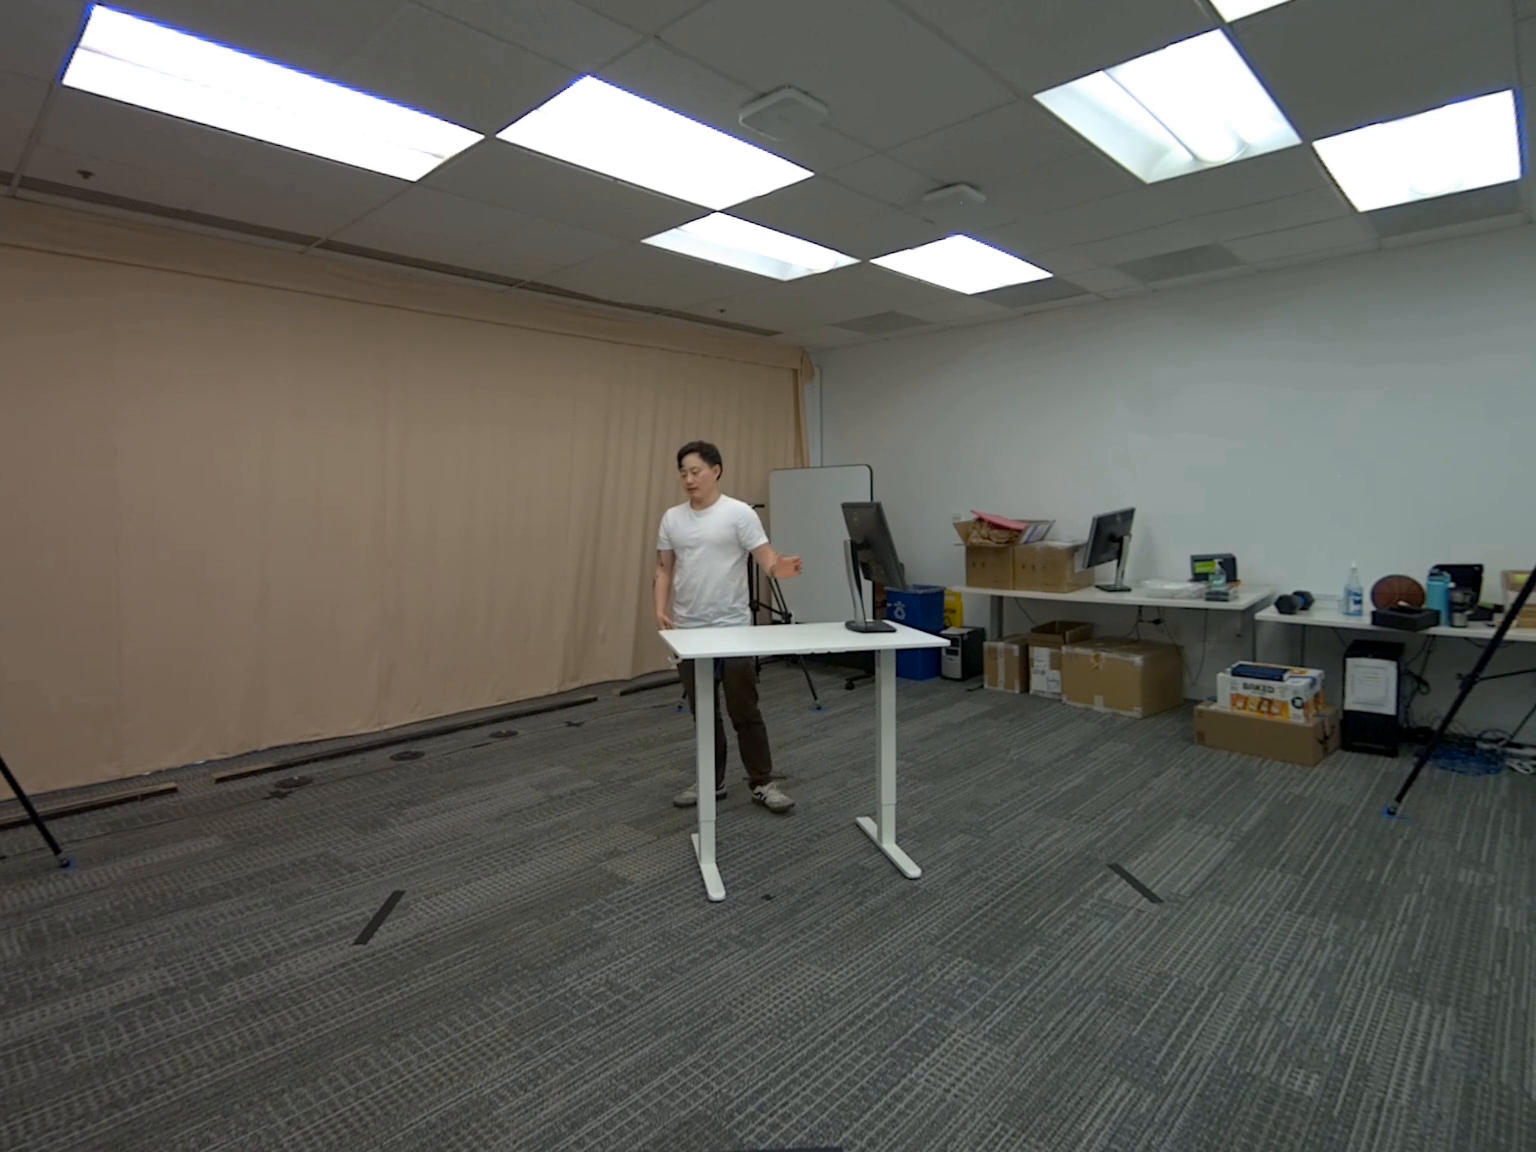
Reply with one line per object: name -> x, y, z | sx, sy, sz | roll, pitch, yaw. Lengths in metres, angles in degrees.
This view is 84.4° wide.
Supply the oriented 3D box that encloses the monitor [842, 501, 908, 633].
monitor -> 0.405, -0.040, 3.428 | 0.185, 0.521, 0.545 | -6, 4, -9
